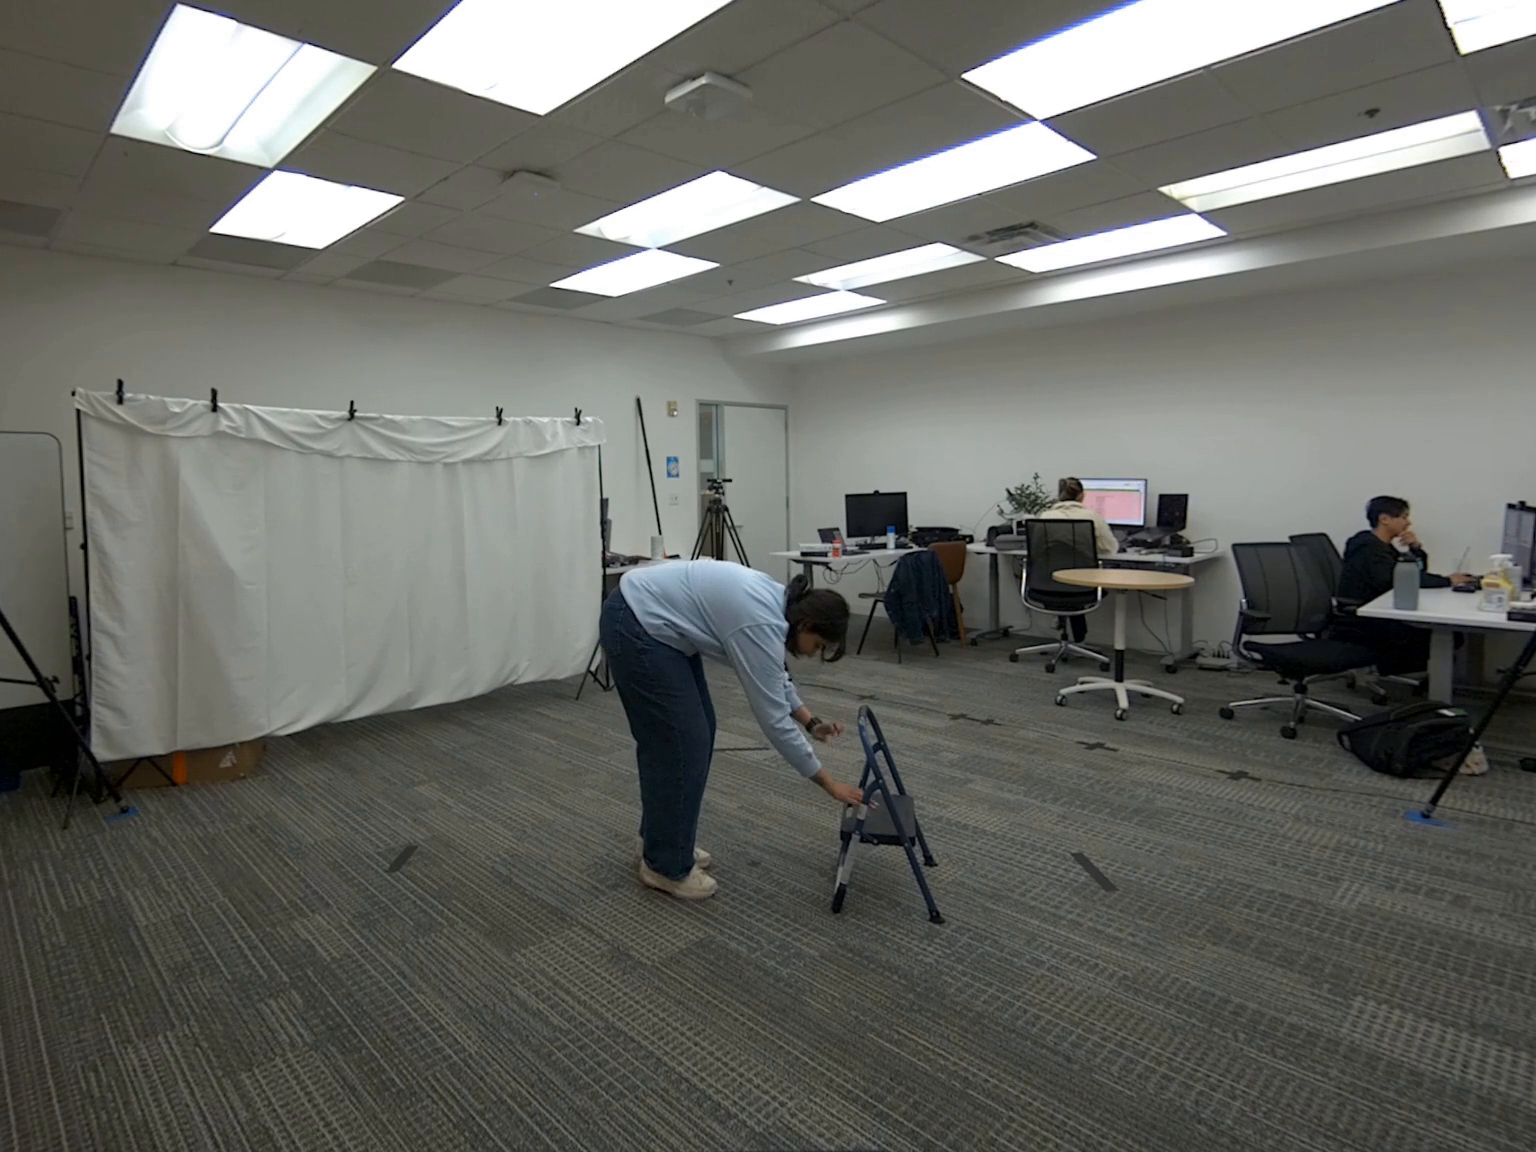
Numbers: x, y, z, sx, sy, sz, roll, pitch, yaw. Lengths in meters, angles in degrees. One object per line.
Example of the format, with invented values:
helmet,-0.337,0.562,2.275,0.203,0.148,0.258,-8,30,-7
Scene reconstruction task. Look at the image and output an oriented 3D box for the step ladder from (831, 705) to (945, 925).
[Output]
step ladder,0.398,0.756,2.888,0.353,0.604,0.428,0,4,9
